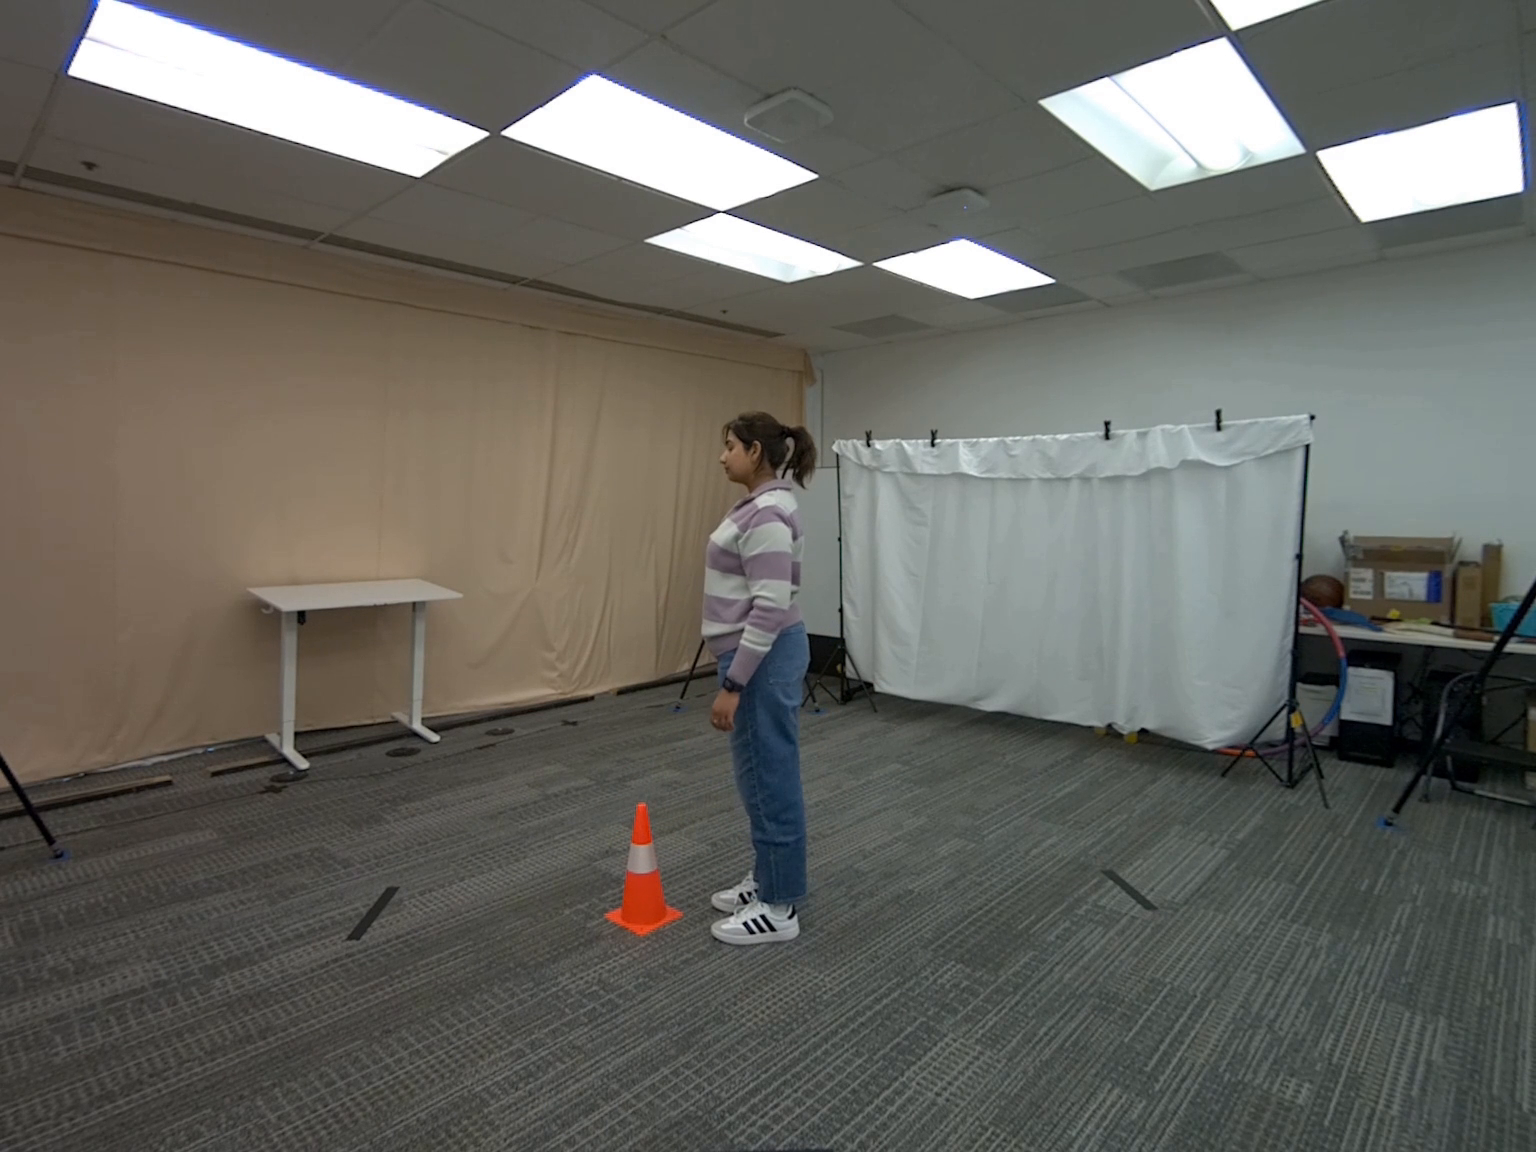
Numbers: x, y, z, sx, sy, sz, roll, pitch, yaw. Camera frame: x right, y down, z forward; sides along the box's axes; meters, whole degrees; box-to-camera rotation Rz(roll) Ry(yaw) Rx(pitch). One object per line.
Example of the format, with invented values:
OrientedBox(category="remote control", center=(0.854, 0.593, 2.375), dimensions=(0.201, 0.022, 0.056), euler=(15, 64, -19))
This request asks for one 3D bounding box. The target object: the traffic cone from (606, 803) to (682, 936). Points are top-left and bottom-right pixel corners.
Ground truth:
OrientedBox(category="traffic cone", center=(-0.421, 0.975, 2.860), dimensions=(0.210, 0.383, 0.199), euler=(2, 4, 39))
